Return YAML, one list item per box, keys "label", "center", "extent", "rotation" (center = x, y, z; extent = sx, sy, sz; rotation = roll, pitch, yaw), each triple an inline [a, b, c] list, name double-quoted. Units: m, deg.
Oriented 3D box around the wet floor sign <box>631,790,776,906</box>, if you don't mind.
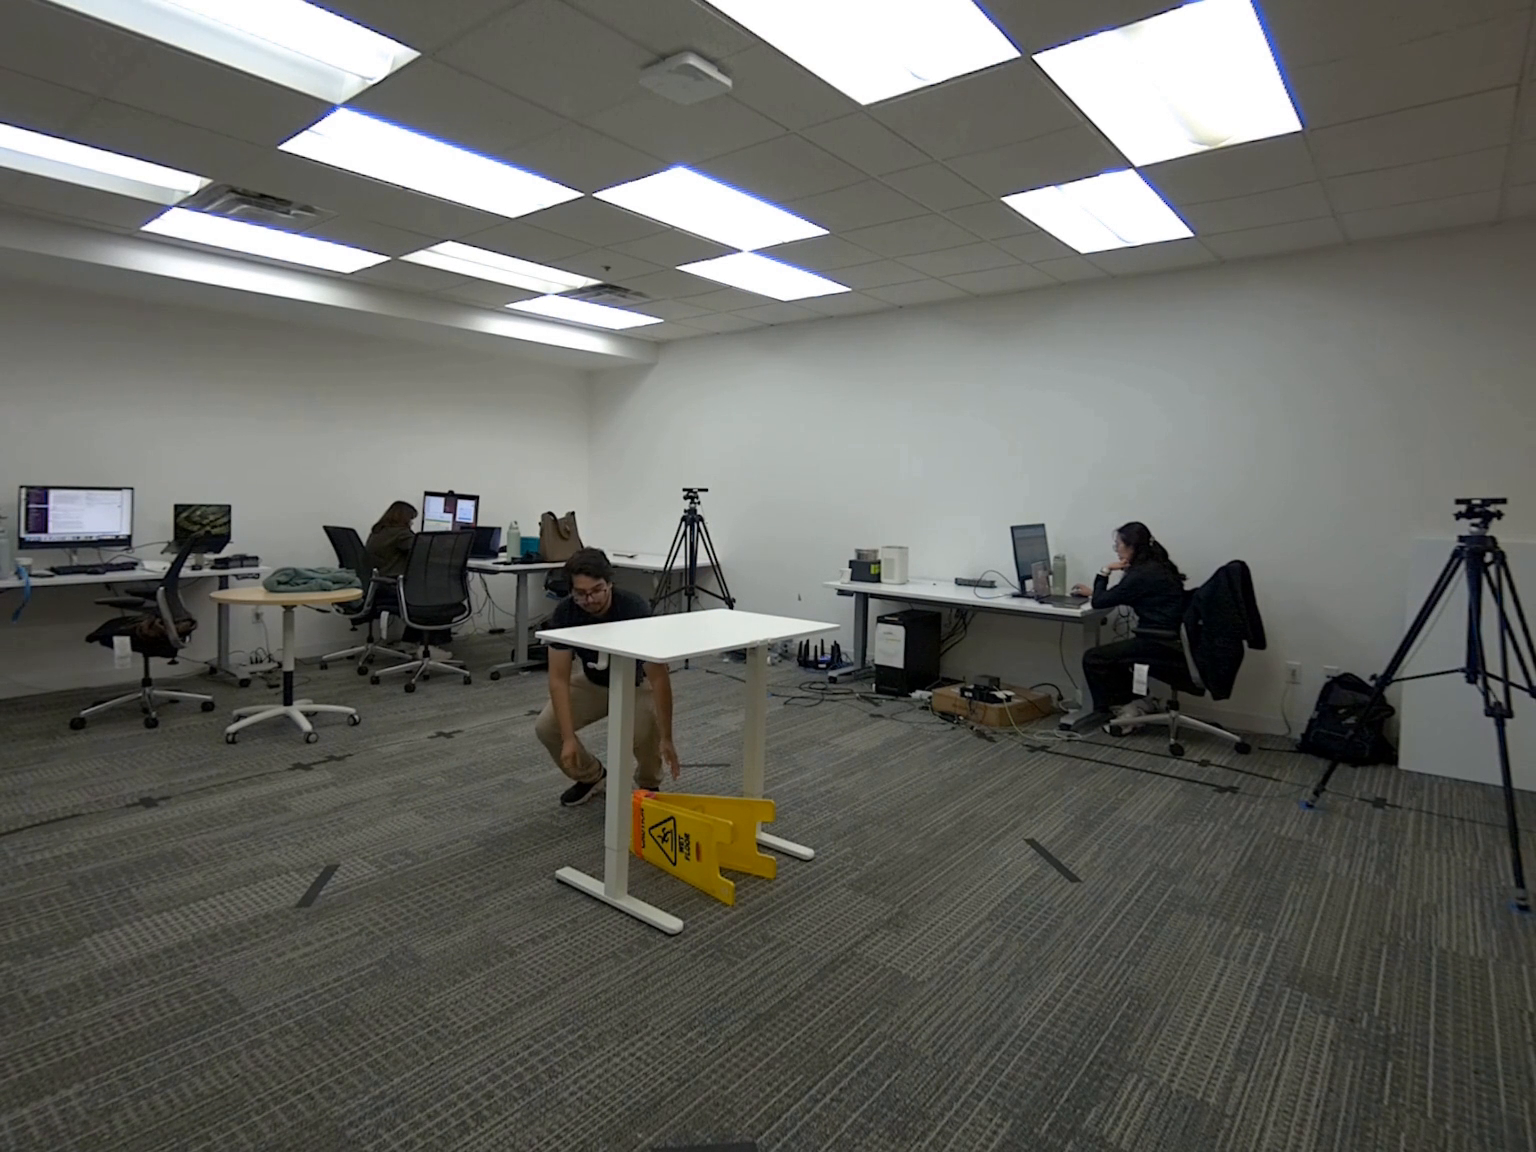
- label: "wet floor sign"
  center: [-0.328, 0.944, 3.122]
  extent: [0.666, 0.282, 0.282]
  rotation: [1, 3, 34]
